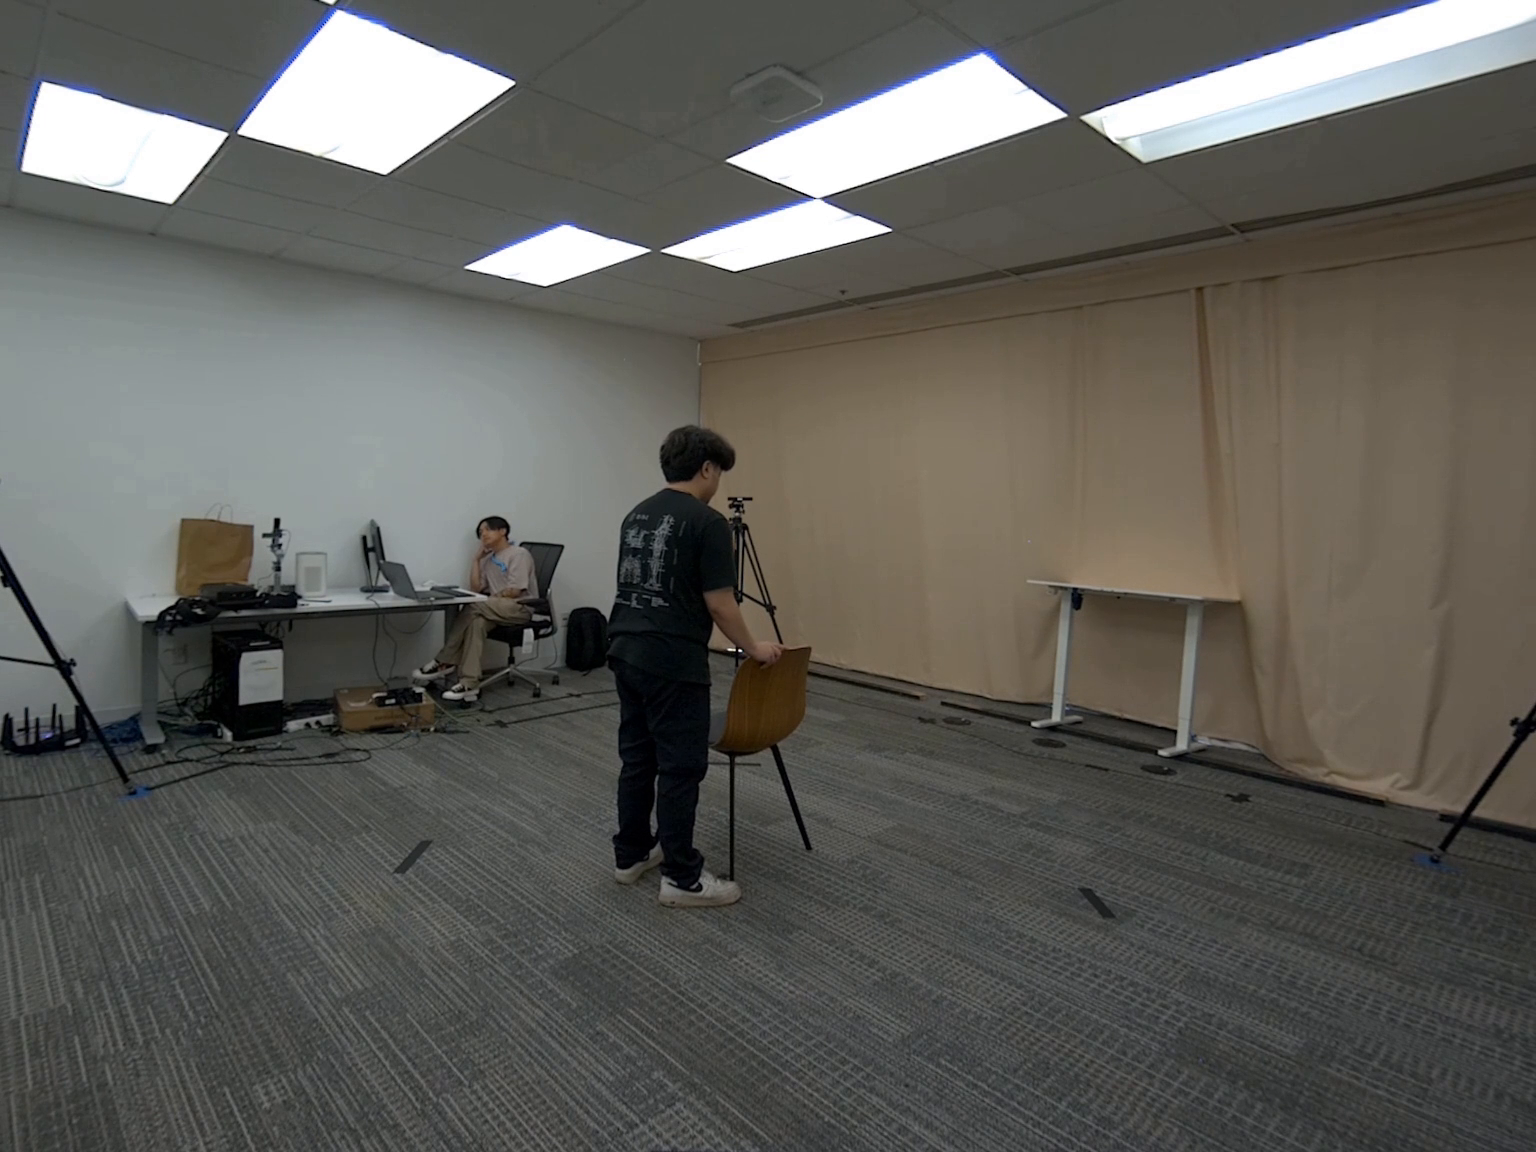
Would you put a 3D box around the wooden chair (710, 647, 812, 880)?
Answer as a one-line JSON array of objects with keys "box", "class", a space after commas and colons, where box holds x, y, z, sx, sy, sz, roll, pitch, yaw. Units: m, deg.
[{"box": [-0.141, 0.661, 3.334, 0.537, 0.873, 0.467, 11, 9, 44], "class": "wooden chair"}]
